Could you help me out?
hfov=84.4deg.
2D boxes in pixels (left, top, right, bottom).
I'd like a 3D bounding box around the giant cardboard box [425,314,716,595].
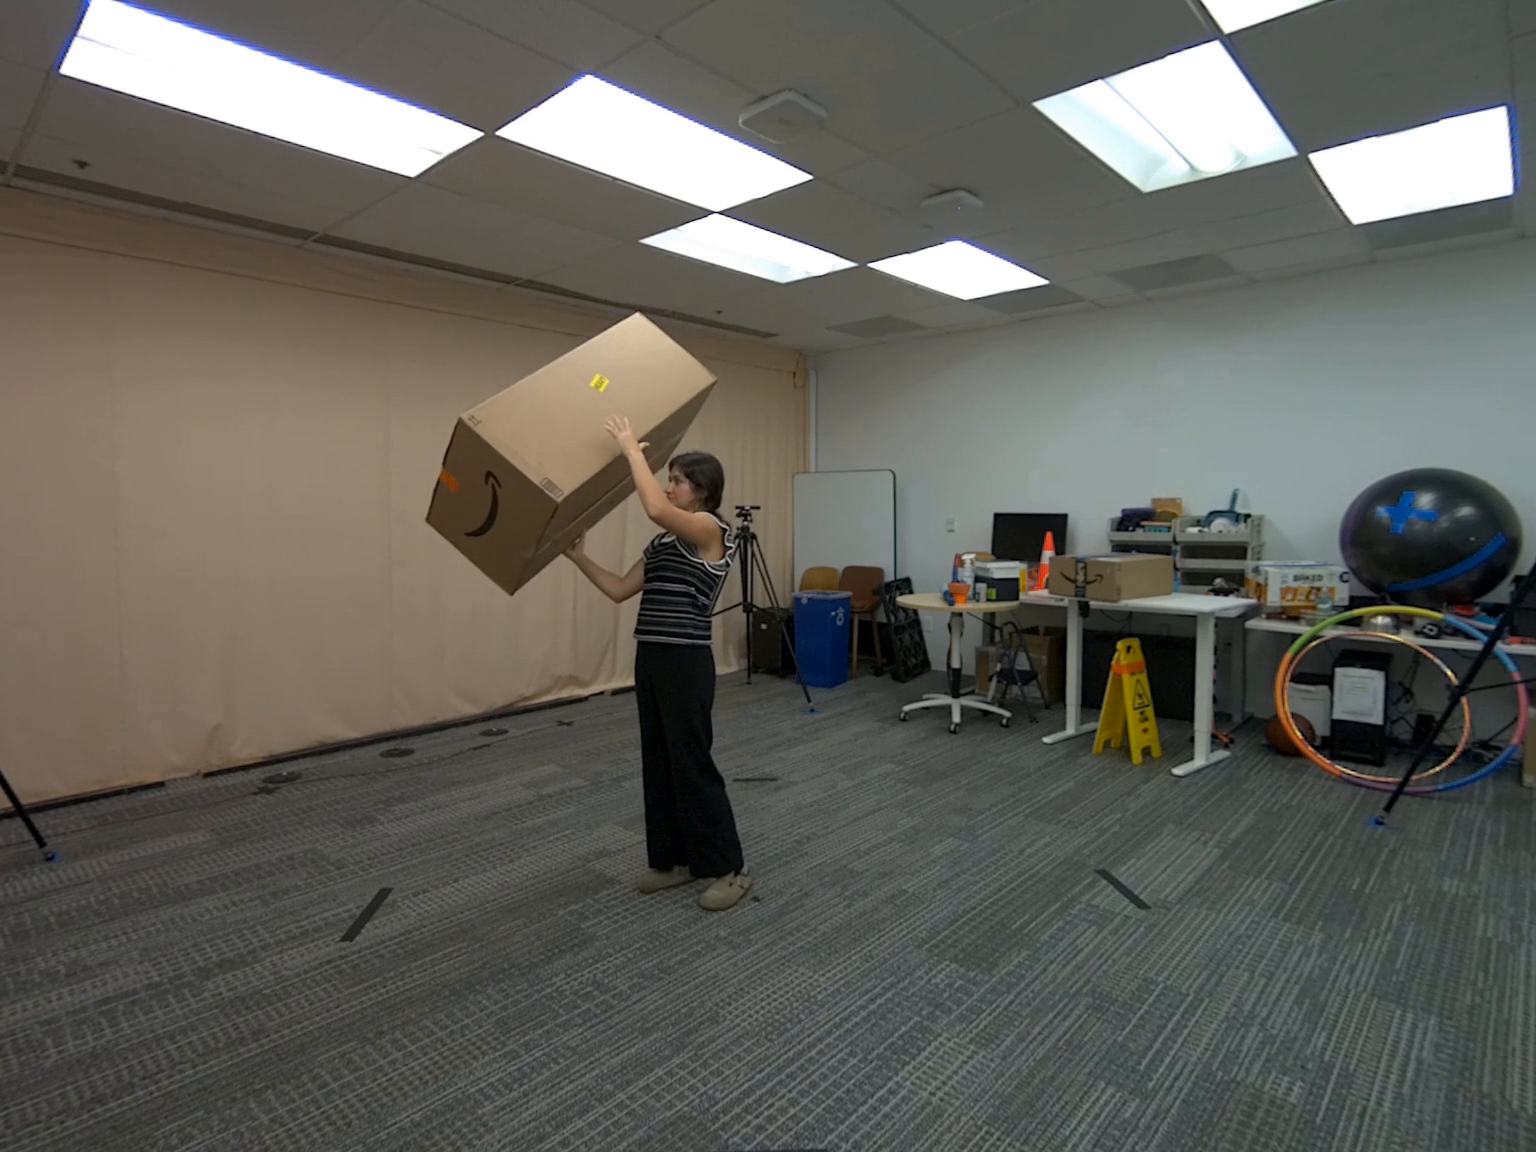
[{"bbox_3d":[-0.715,-0.494,3.185,0.581,0.427,1.018,-49,1,46],"label":"giant cardboard box"}]
